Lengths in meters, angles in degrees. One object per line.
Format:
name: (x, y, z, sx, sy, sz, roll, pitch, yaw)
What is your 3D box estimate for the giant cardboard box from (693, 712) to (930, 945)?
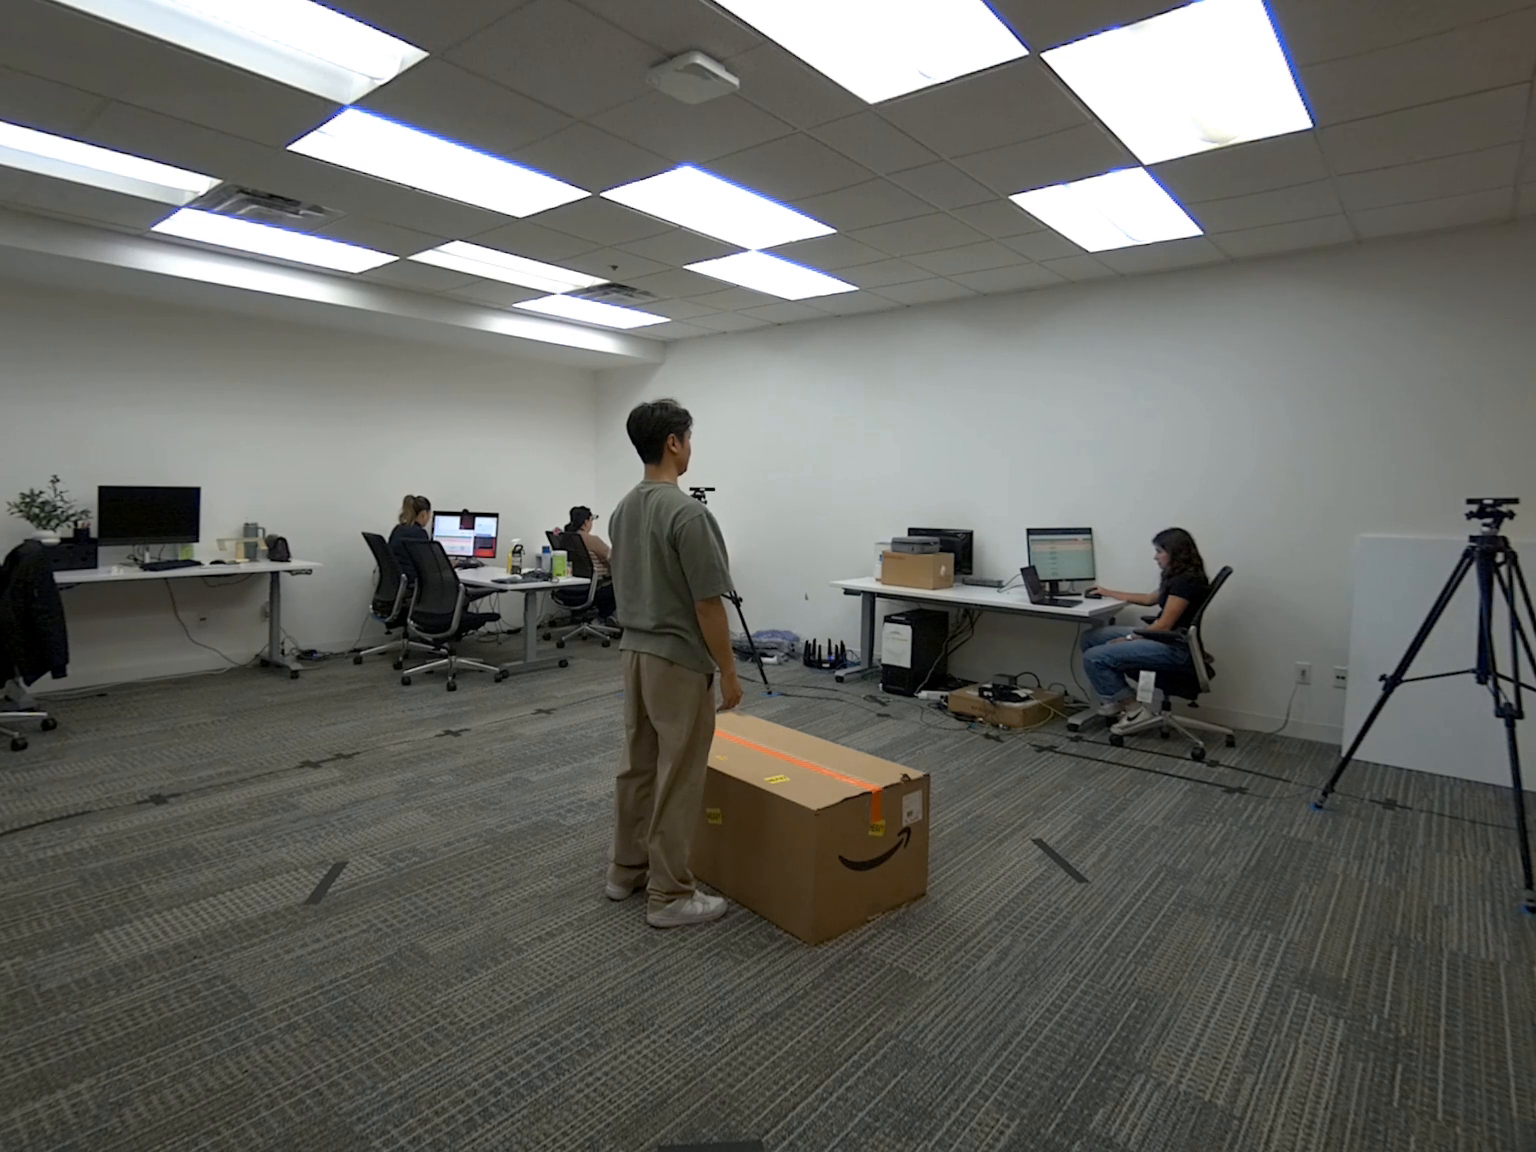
giant cardboard box: (-0.005, 0.851, 3.145, 0.560, 0.424, 1.061, -3, 7, -41)
